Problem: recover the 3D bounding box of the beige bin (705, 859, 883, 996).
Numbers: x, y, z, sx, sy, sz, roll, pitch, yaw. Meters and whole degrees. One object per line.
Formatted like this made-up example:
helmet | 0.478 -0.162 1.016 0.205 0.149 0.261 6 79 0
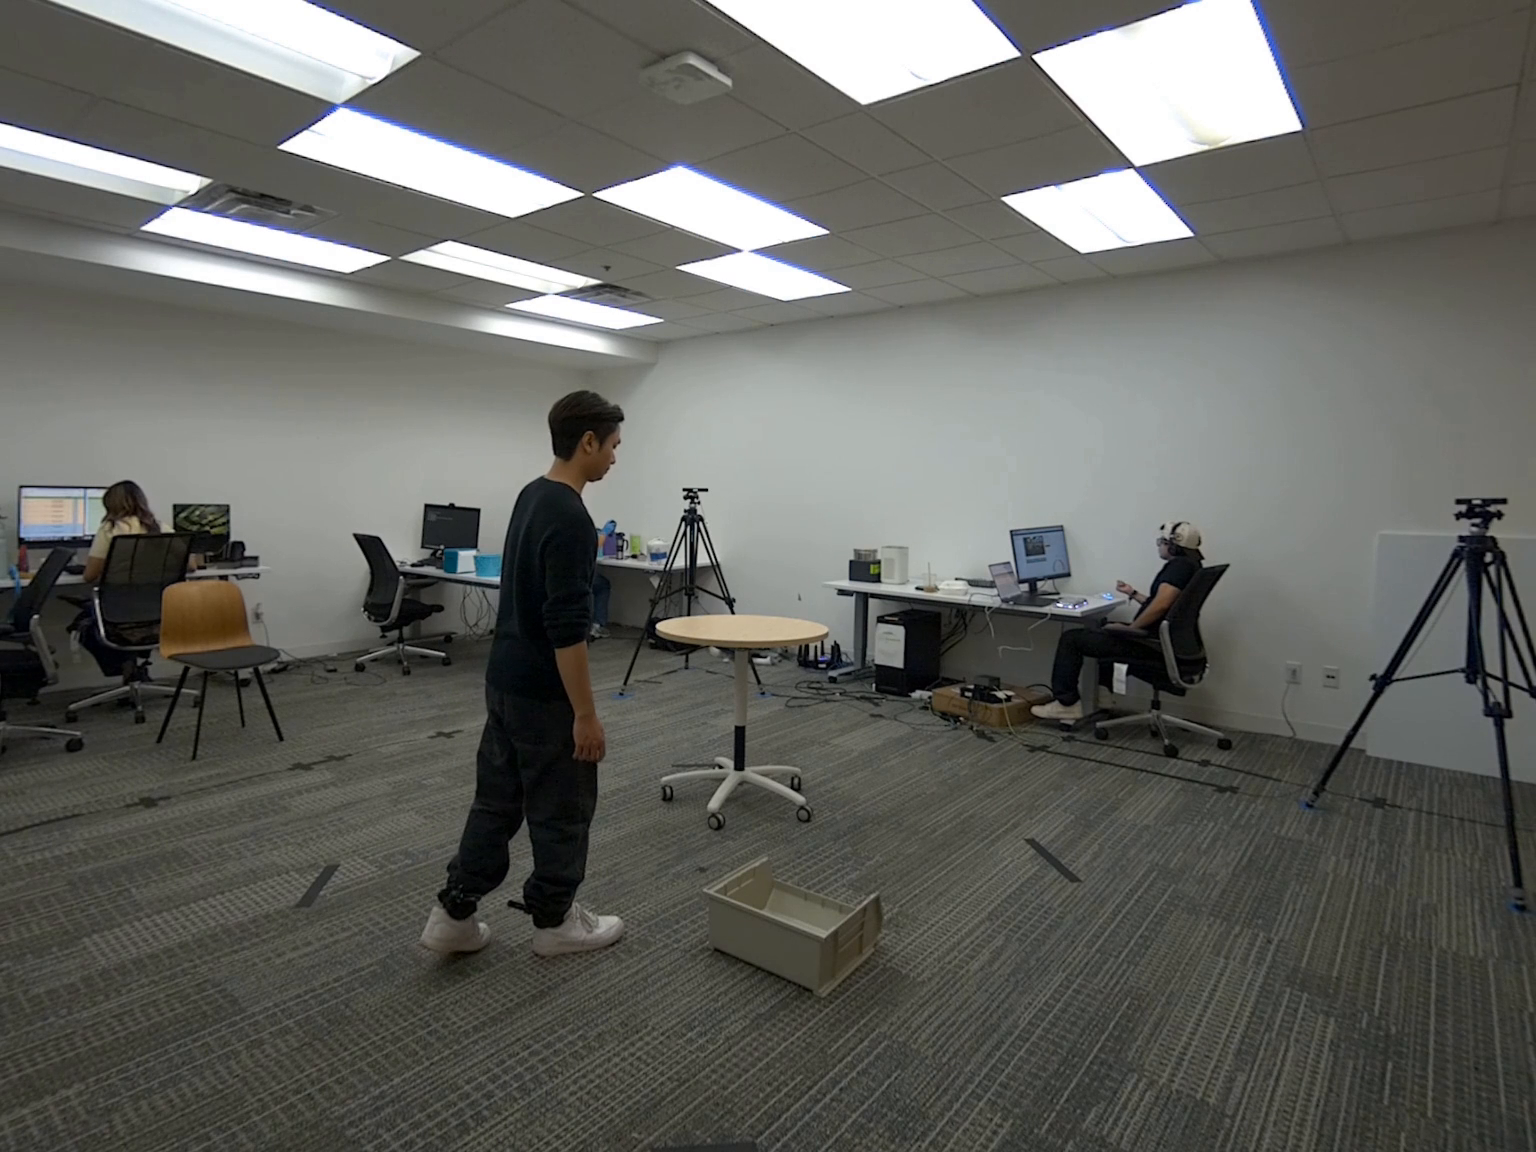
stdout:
beige bin | 0.072 1.038 2.586 0.436 0.188 0.367 5 7 34
